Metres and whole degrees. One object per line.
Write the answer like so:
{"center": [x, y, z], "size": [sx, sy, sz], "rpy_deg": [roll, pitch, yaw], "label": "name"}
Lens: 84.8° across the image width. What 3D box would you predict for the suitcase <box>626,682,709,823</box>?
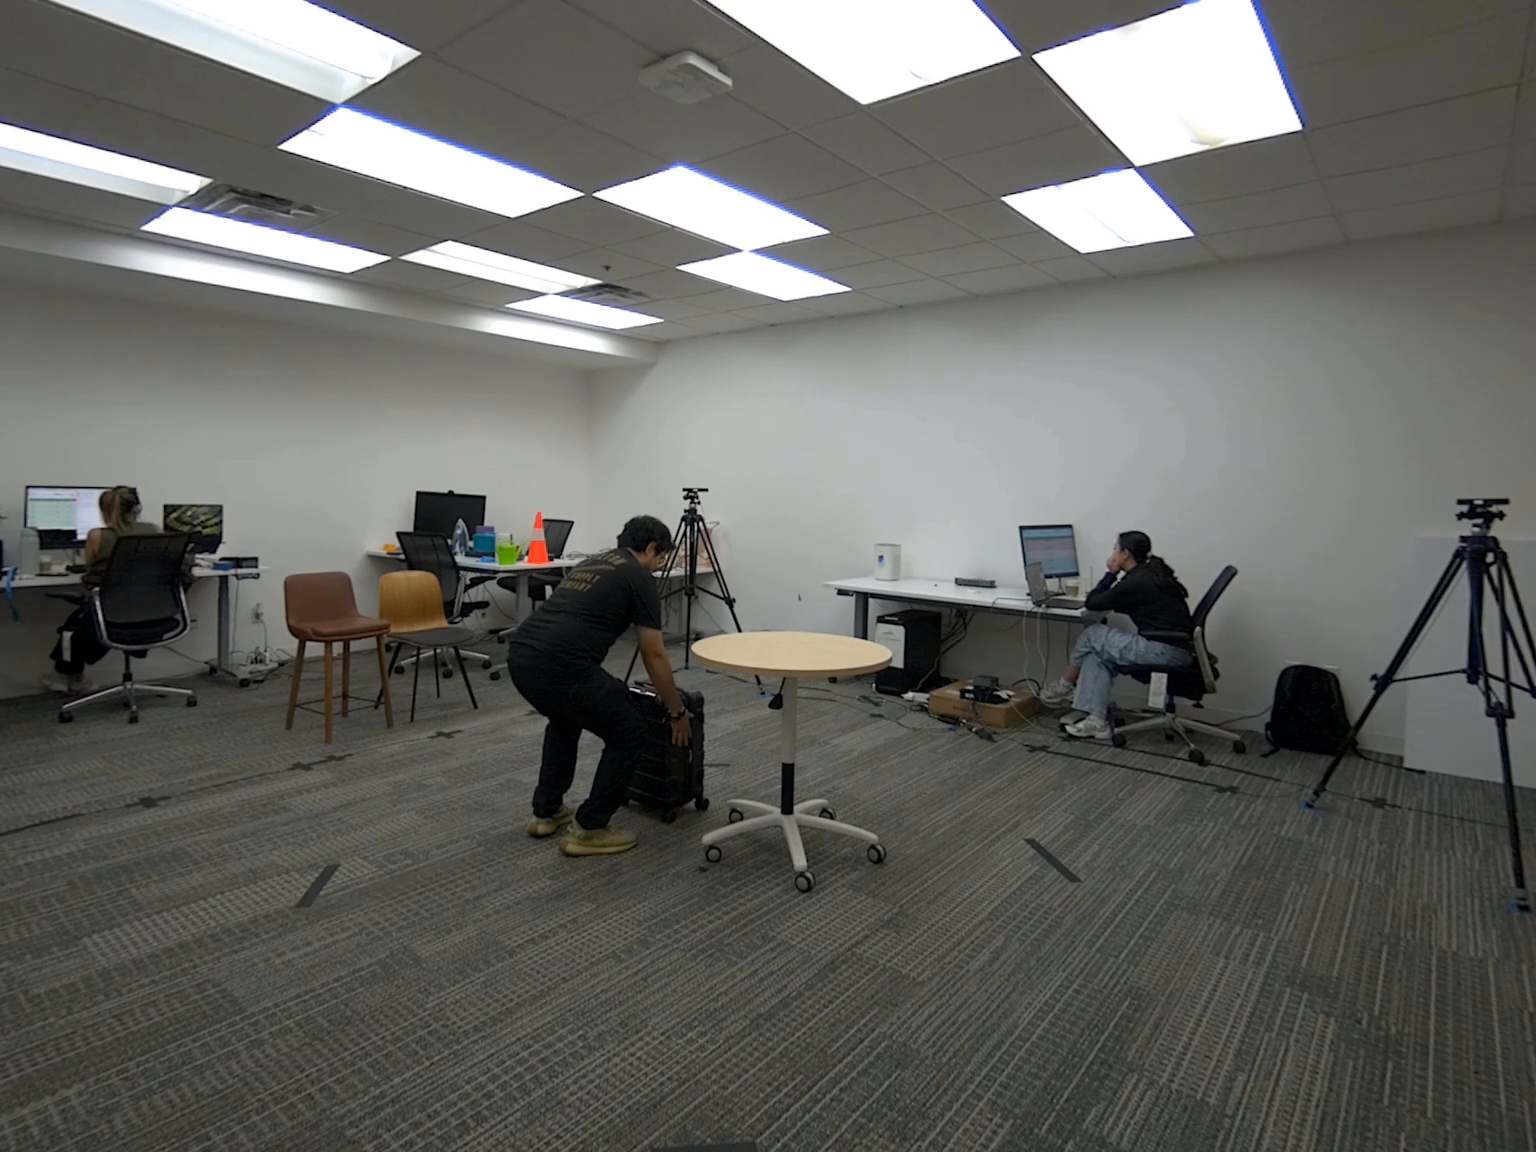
{"center": [-0.478, 0.739, 3.702], "size": [0.388, 0.547, 0.241], "rpy_deg": [6, 7, 42], "label": "suitcase"}
